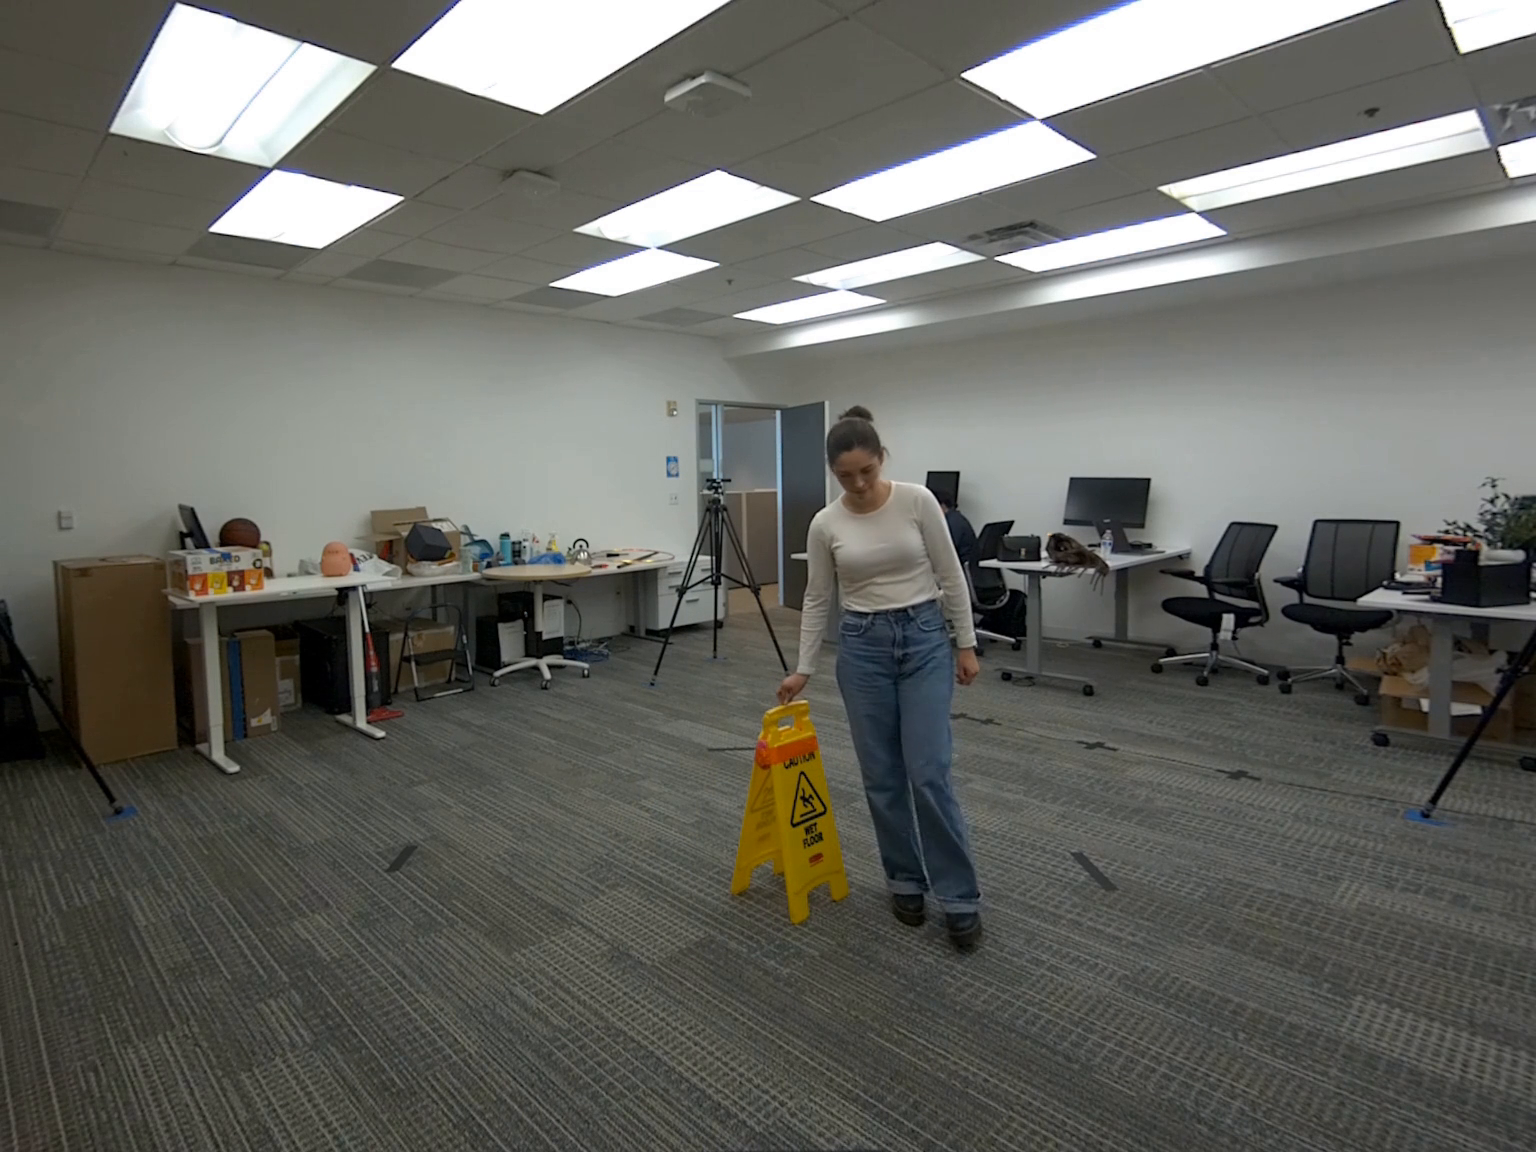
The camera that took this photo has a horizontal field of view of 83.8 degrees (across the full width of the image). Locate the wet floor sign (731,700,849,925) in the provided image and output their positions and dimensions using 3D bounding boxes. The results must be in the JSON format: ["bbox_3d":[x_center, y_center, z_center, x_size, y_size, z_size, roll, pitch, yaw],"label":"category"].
[{"bbox_3d":[0.073,0.746,2.845,0.275,0.643,0.299,-6,7,-45],"label":"wet floor sign"}]
